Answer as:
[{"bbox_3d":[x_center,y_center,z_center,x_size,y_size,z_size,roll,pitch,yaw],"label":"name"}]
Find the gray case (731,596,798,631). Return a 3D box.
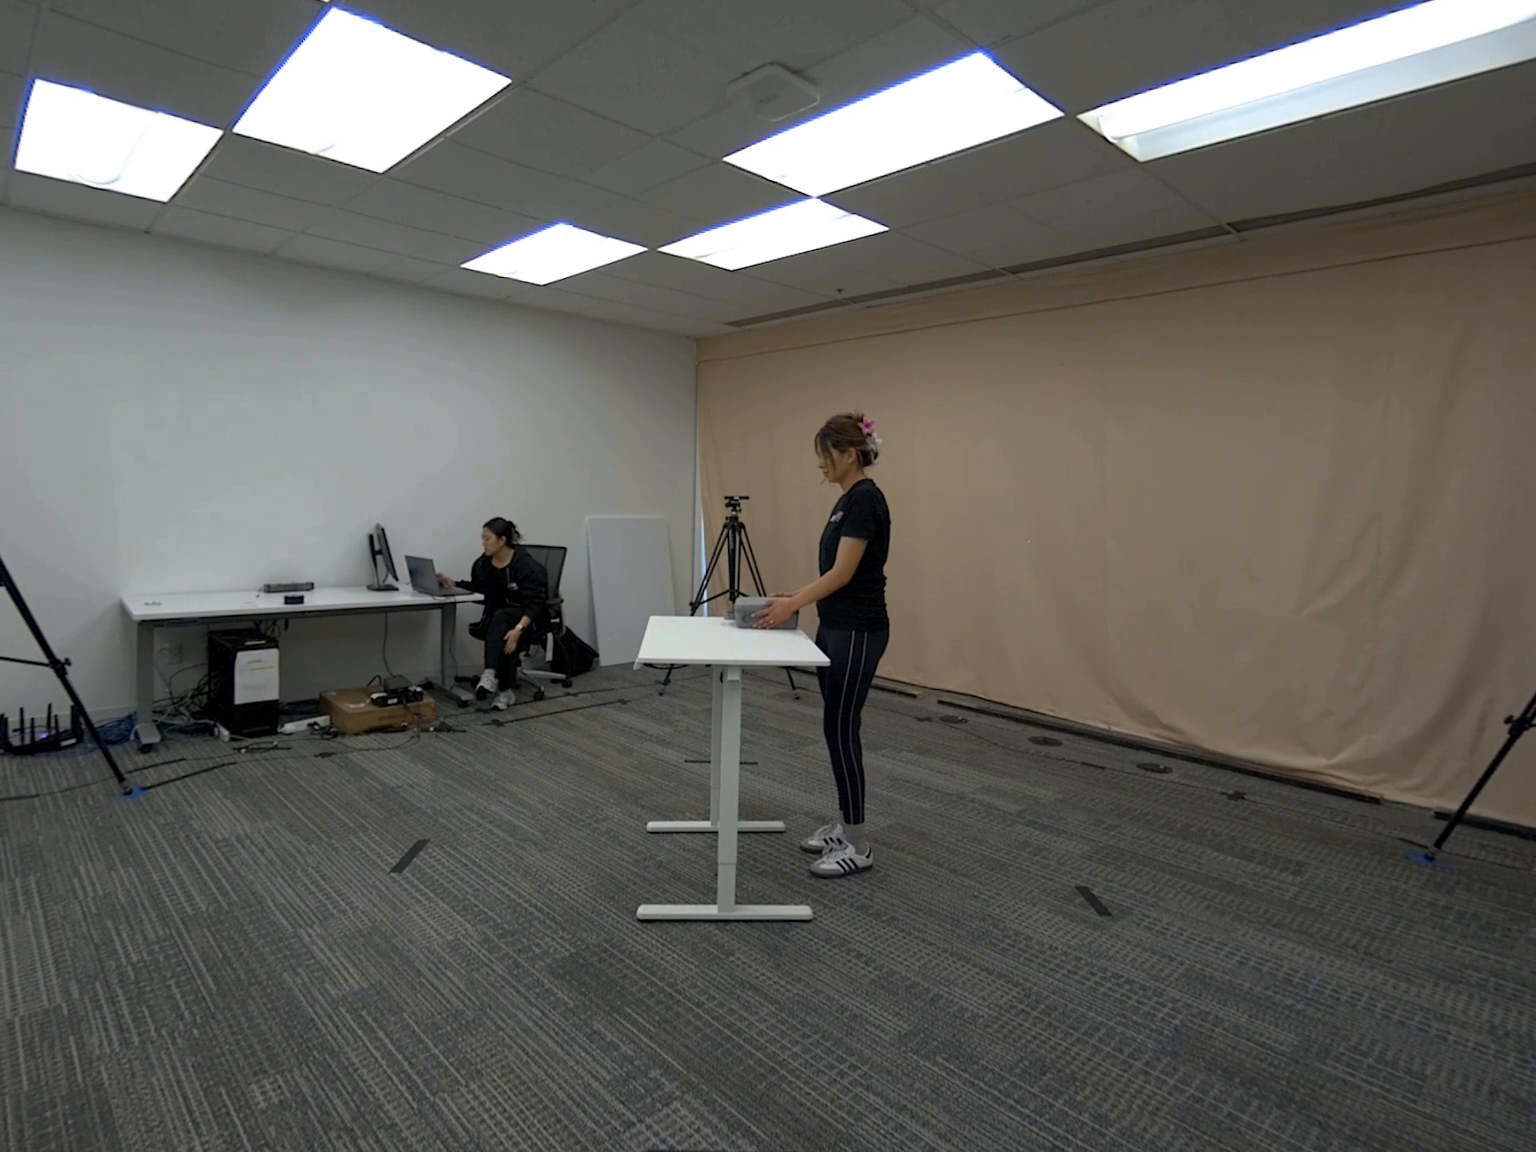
[{"bbox_3d":[-0.017,0.150,3.407,0.260,0.104,0.258,0,6,-2],"label":"gray case"}]
